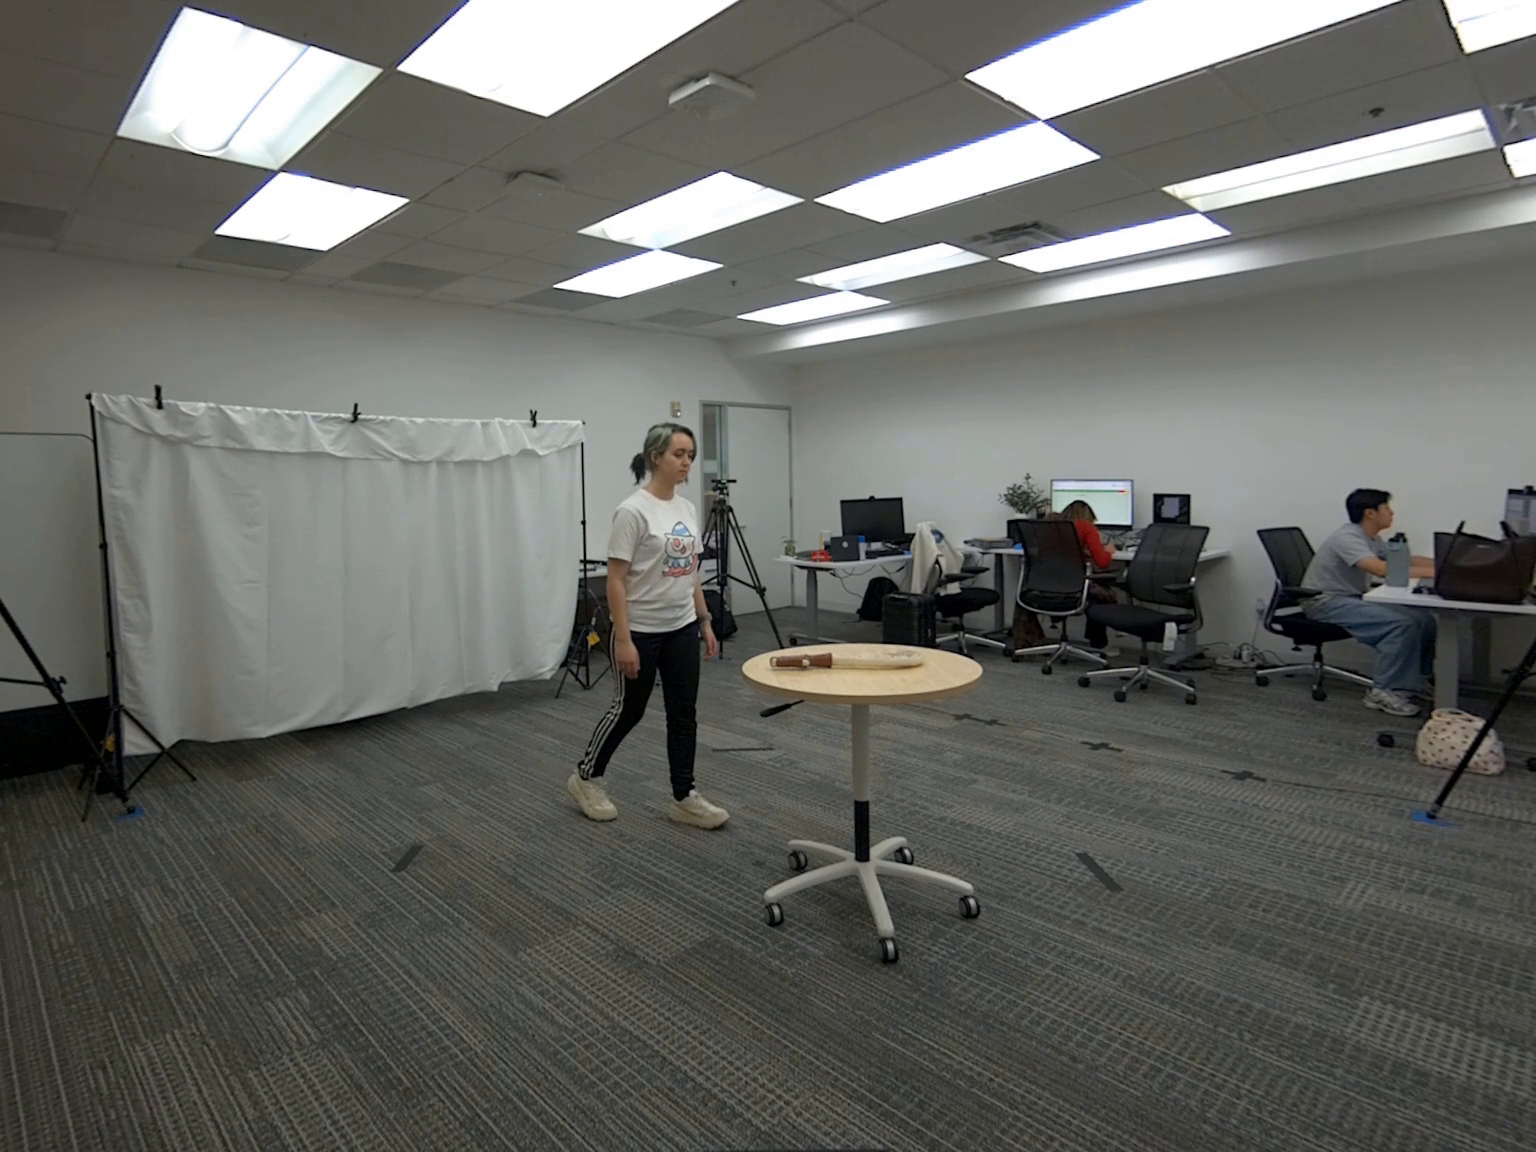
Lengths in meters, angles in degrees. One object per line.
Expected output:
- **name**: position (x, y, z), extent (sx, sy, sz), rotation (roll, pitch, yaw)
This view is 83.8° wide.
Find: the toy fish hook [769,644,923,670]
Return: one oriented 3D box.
- **toy fish hook**: position (0.259, 0.275, 2.803), extent (0.506, 0.048, 0.224), rotation (0, -1, 0)
